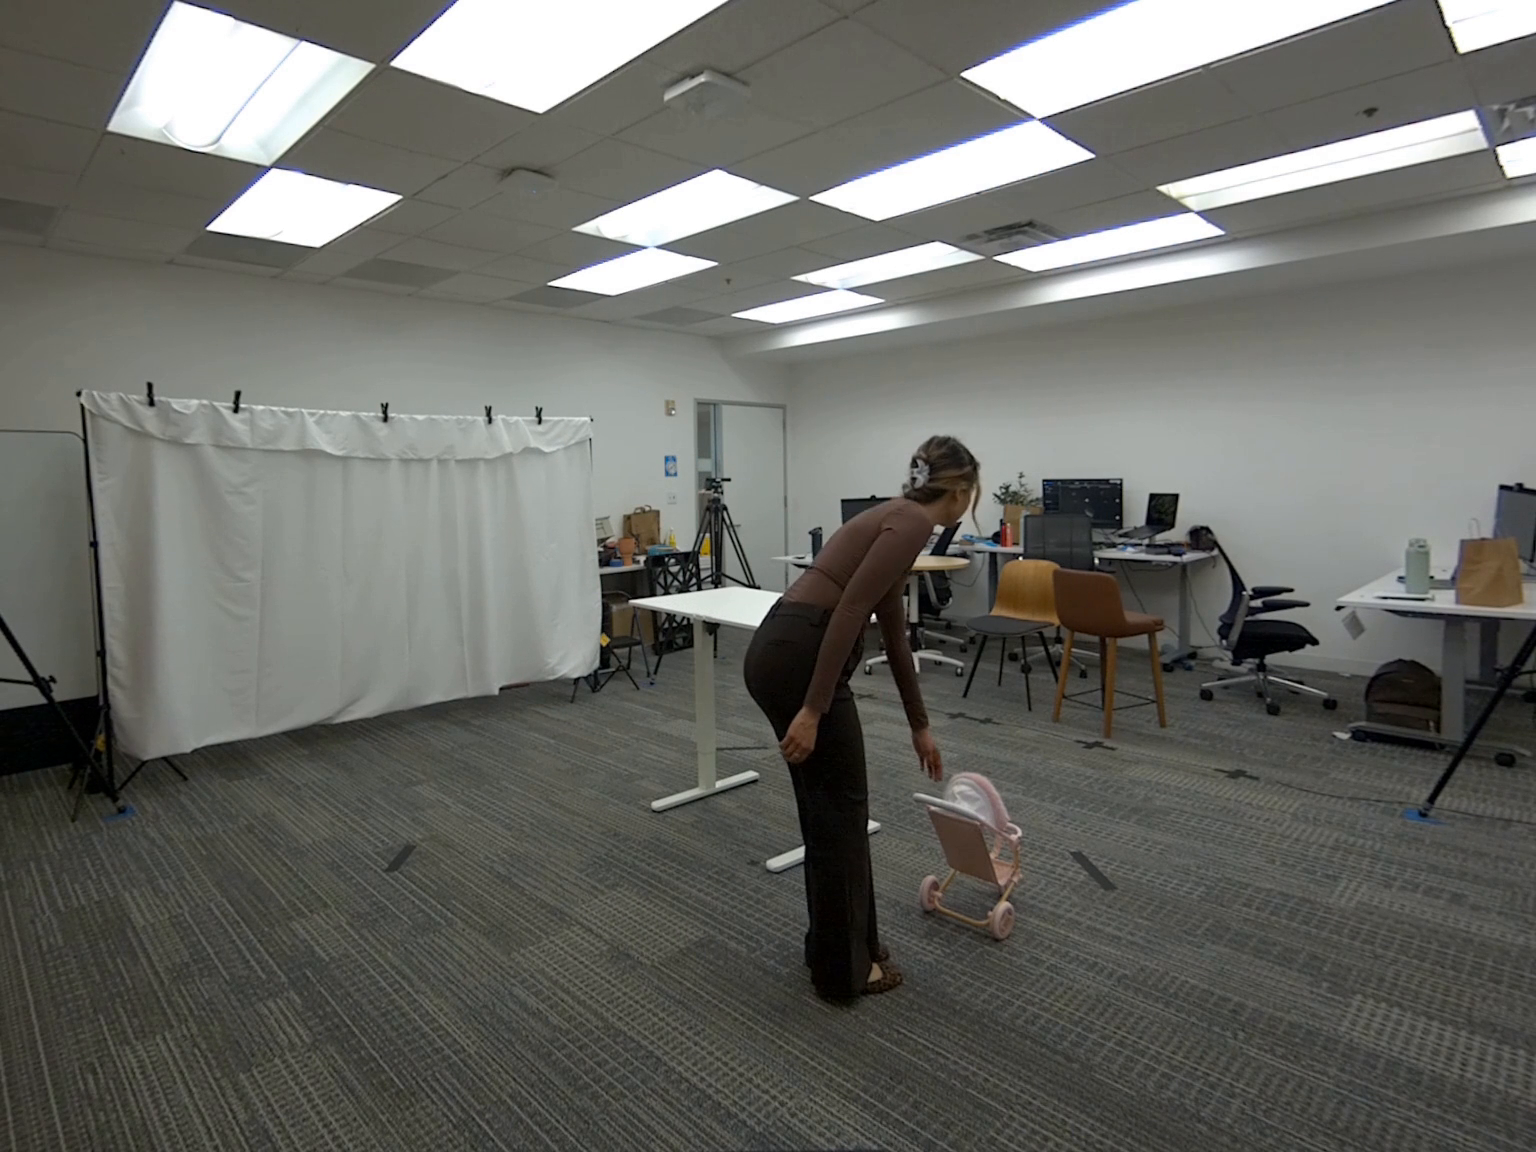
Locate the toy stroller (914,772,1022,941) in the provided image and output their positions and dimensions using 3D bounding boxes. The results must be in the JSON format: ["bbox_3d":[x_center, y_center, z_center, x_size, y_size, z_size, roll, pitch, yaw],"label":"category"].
[{"bbox_3d":[0.657,0.852,2.688,0.336,0.527,0.290,-24,18,-39],"label":"toy stroller"}]
